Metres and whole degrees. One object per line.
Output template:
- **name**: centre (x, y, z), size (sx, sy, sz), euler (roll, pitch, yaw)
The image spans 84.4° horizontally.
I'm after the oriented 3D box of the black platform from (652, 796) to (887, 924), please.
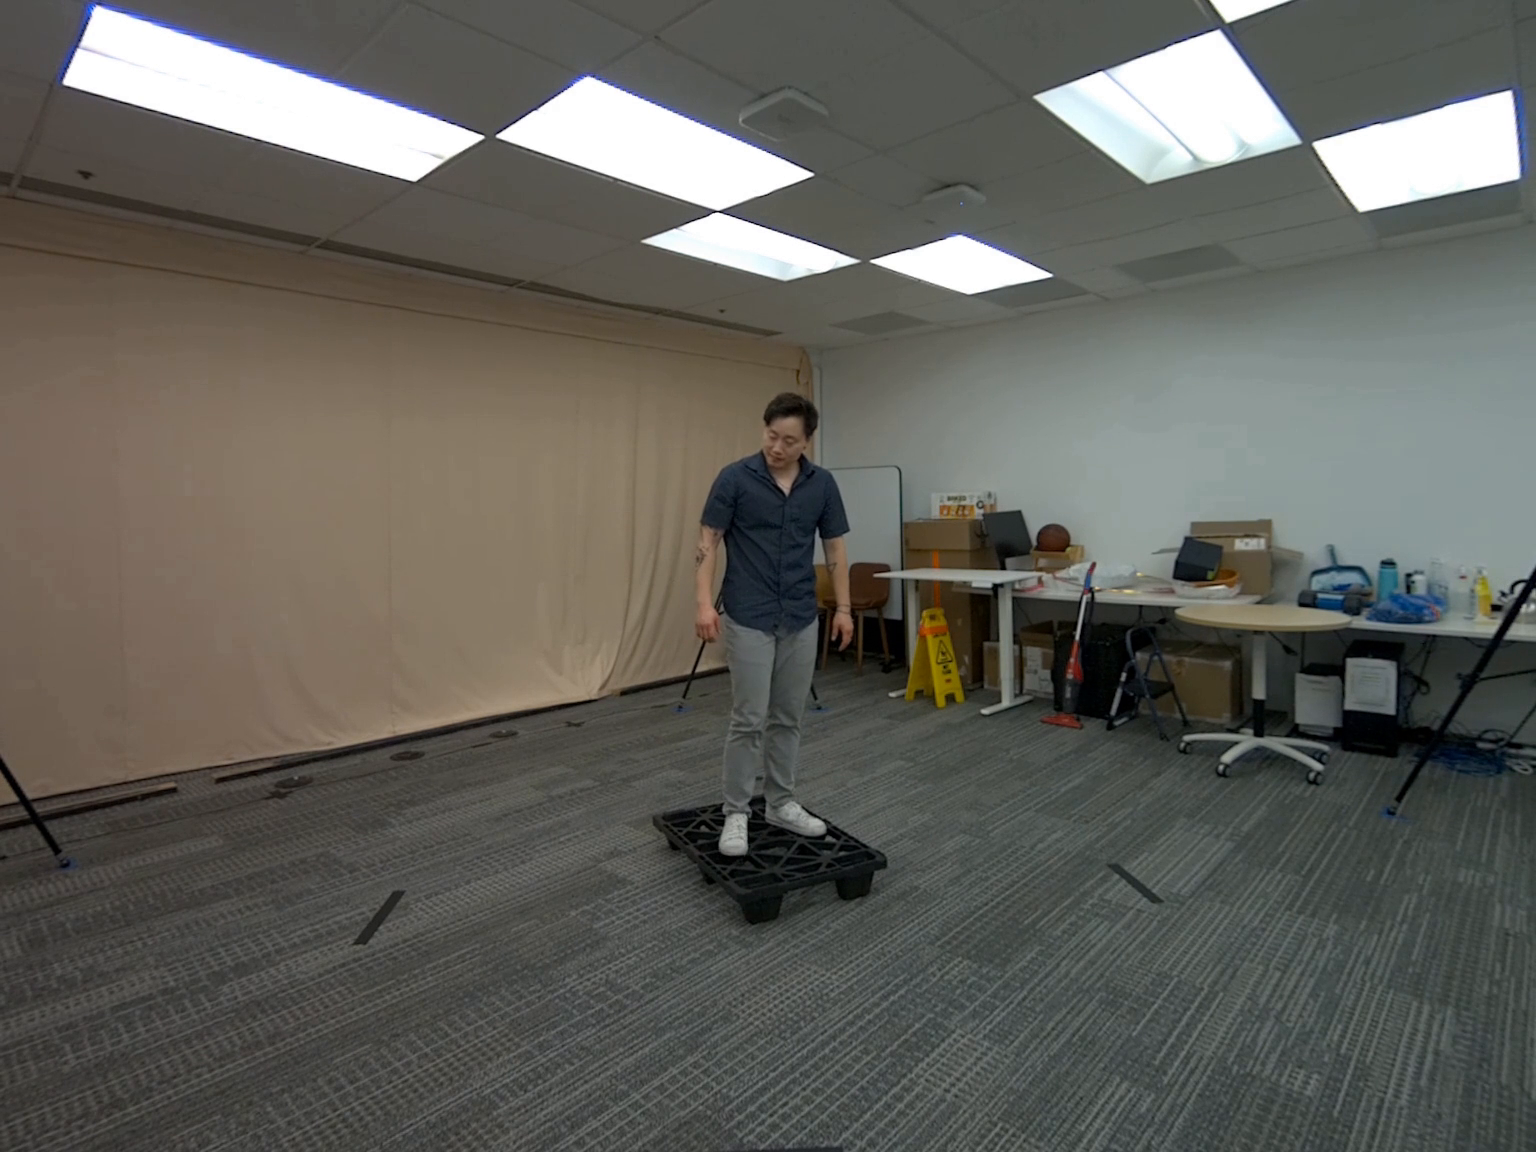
- **black platform**: centre (-0.020, 1.053, 3.216), size (0.590, 0.143, 0.827), euler (-3, 5, -27)
